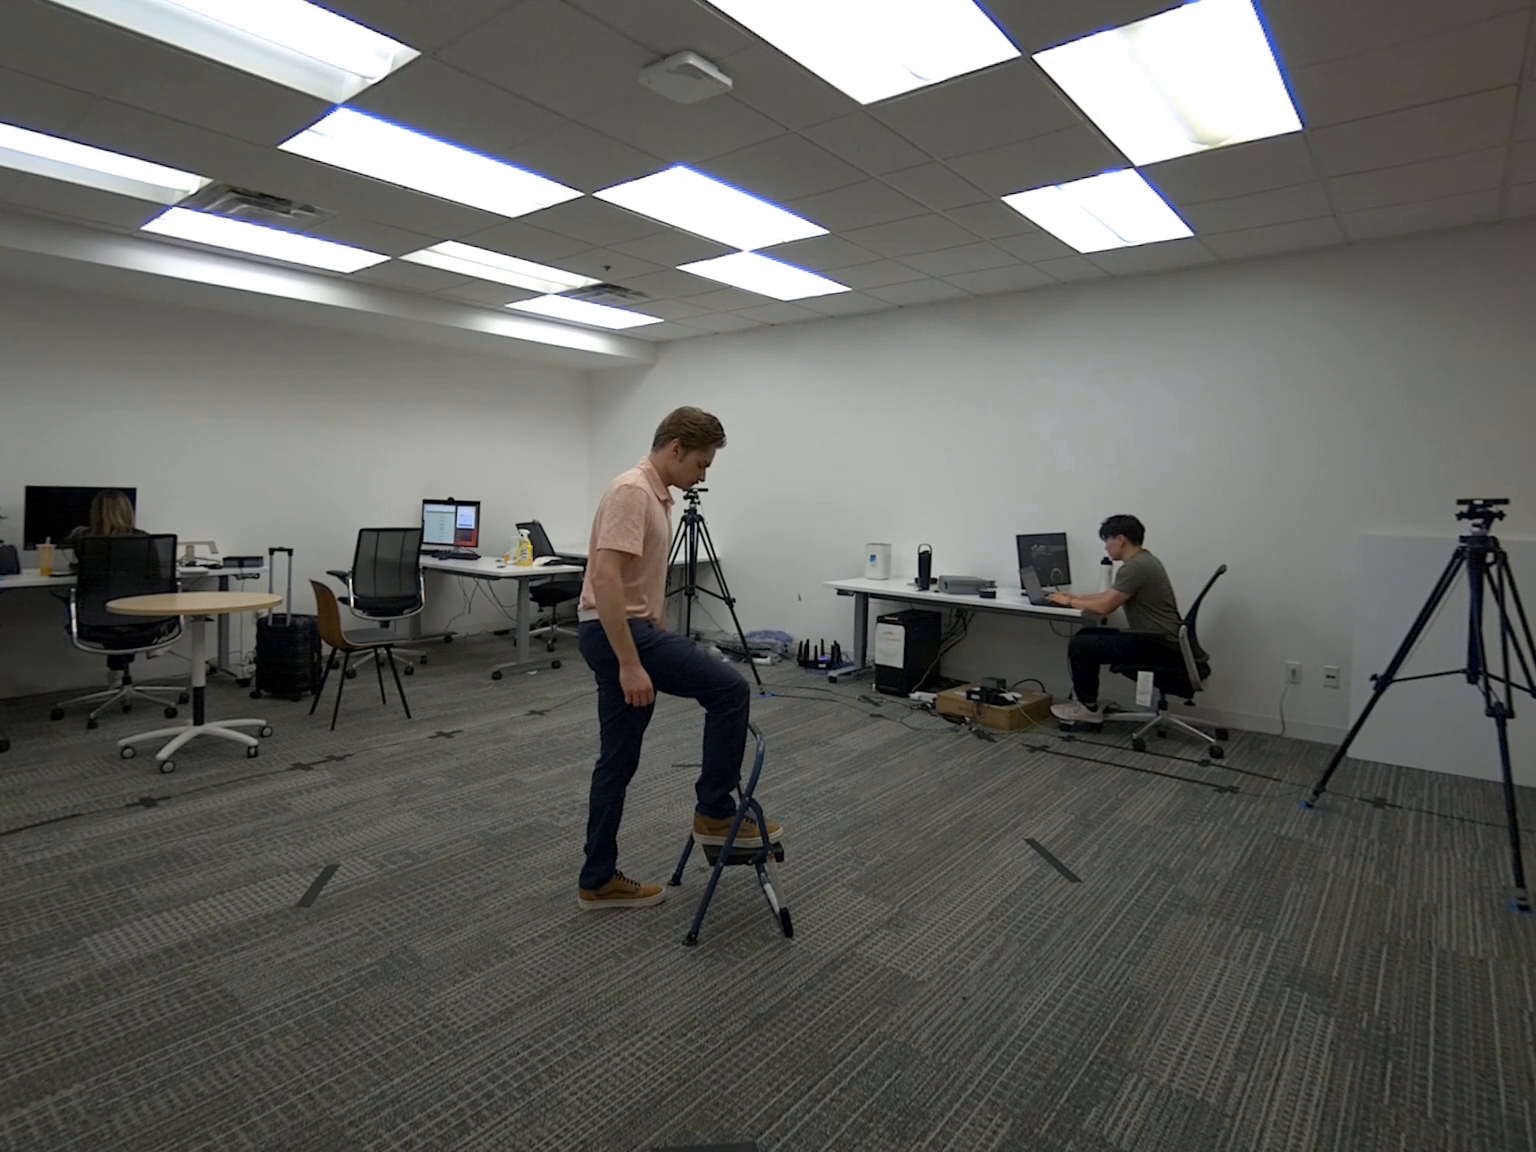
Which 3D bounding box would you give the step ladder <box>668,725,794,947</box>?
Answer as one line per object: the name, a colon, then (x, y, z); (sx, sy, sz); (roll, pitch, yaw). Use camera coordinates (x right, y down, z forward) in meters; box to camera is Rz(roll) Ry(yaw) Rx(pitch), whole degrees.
step ladder: (-0.131, 0.800, 2.803); (0.345, 0.605, 0.437); (0, 3, -12)
